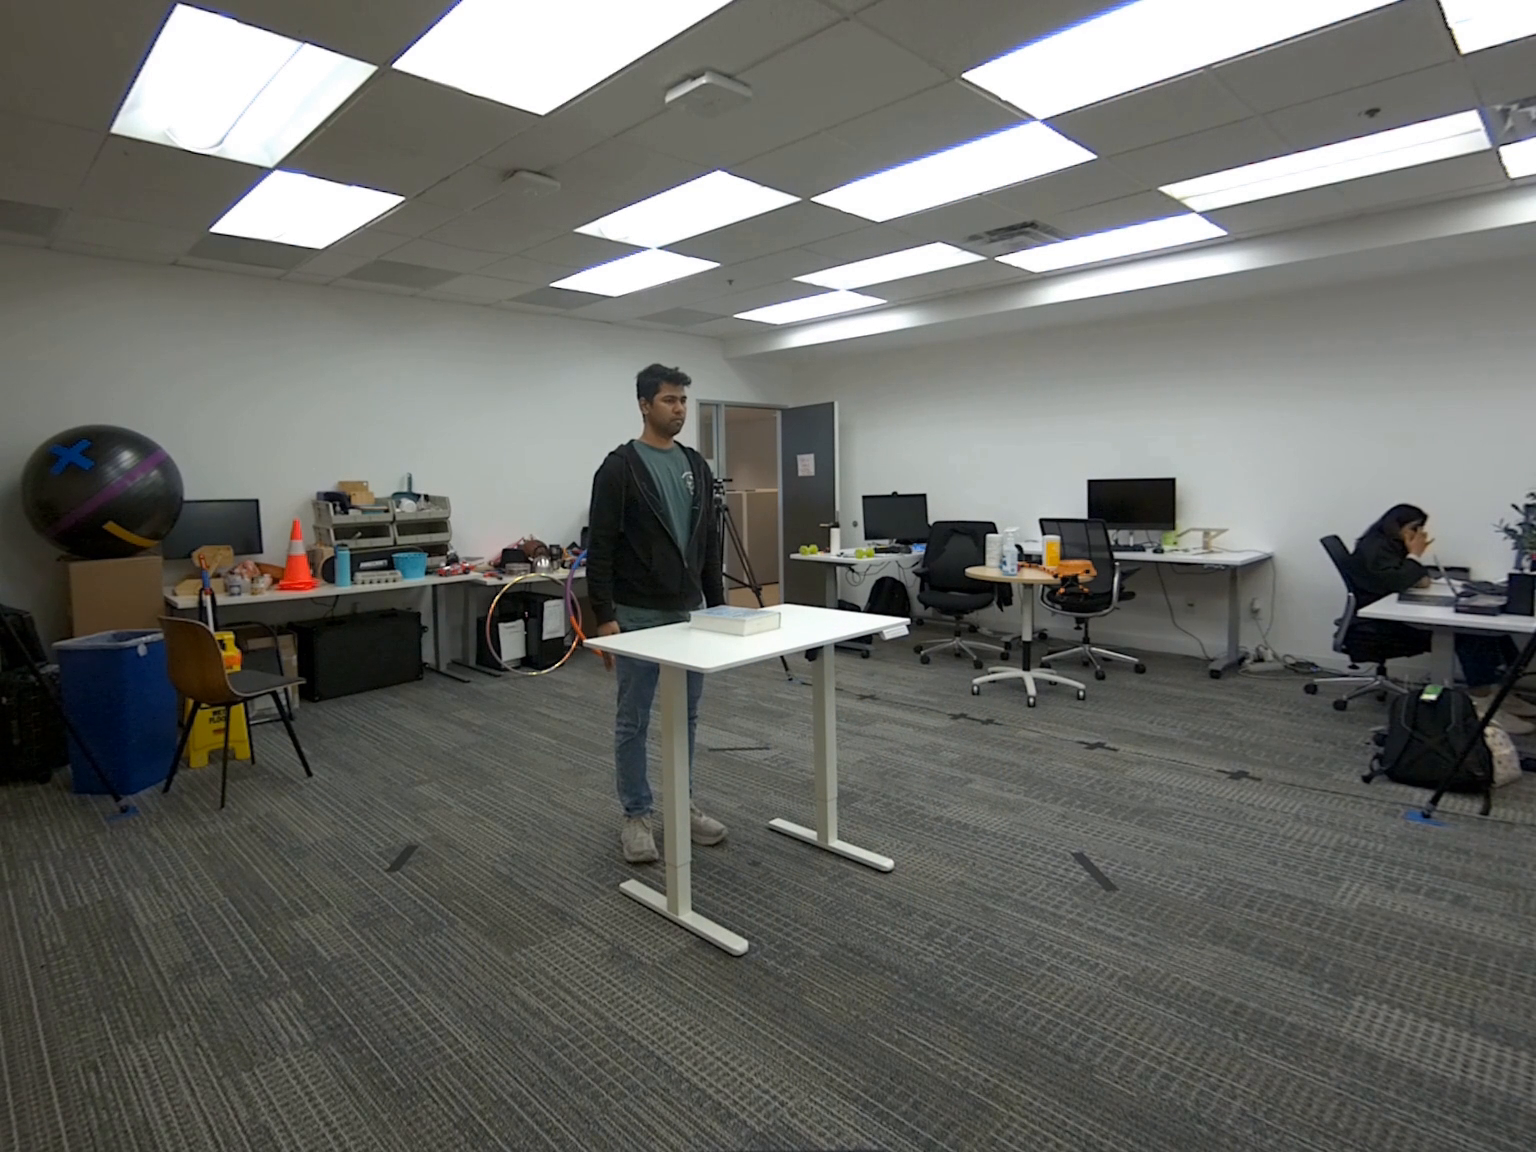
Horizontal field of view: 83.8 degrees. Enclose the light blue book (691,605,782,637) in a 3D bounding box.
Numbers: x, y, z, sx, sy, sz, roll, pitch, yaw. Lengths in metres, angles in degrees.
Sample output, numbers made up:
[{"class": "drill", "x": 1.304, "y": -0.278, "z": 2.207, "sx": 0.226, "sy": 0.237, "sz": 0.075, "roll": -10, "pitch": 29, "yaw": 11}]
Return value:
[{"class": "light blue book", "x": -0.093, "y": 0.157, "z": 2.932, "sx": 0.197, "sy": 0.059, "sz": 0.254, "roll": 4, "pitch": 7, "yaw": 43}]
